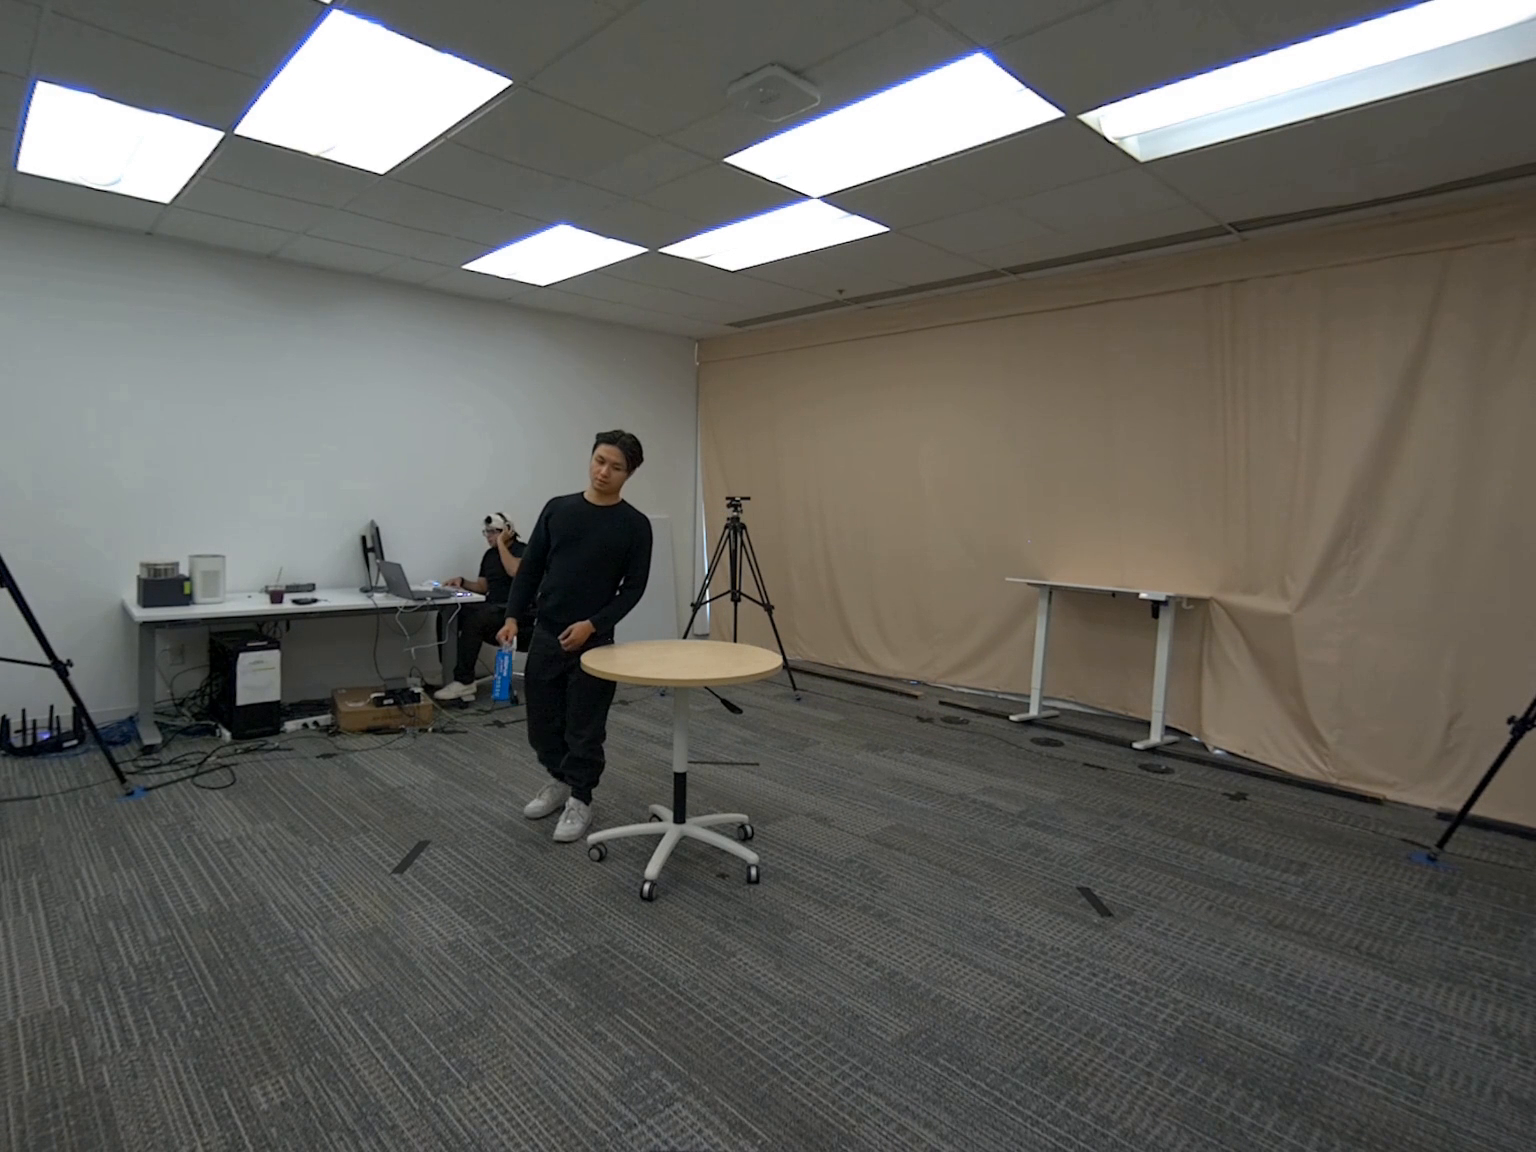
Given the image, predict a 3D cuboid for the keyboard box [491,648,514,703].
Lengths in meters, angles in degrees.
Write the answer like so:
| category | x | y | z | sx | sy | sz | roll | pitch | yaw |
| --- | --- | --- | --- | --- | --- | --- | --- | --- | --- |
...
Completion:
| category | x | y | z | sx | sy | sz | roll | pitch | yaw |
| --- | --- | --- | --- | --- | --- | --- | --- | --- | --- |
| keyboard box | -1.035 | 0.373 | 3.298 | 0.058 | 0.176 | 0.441 | 4 | -1 | -14 |
